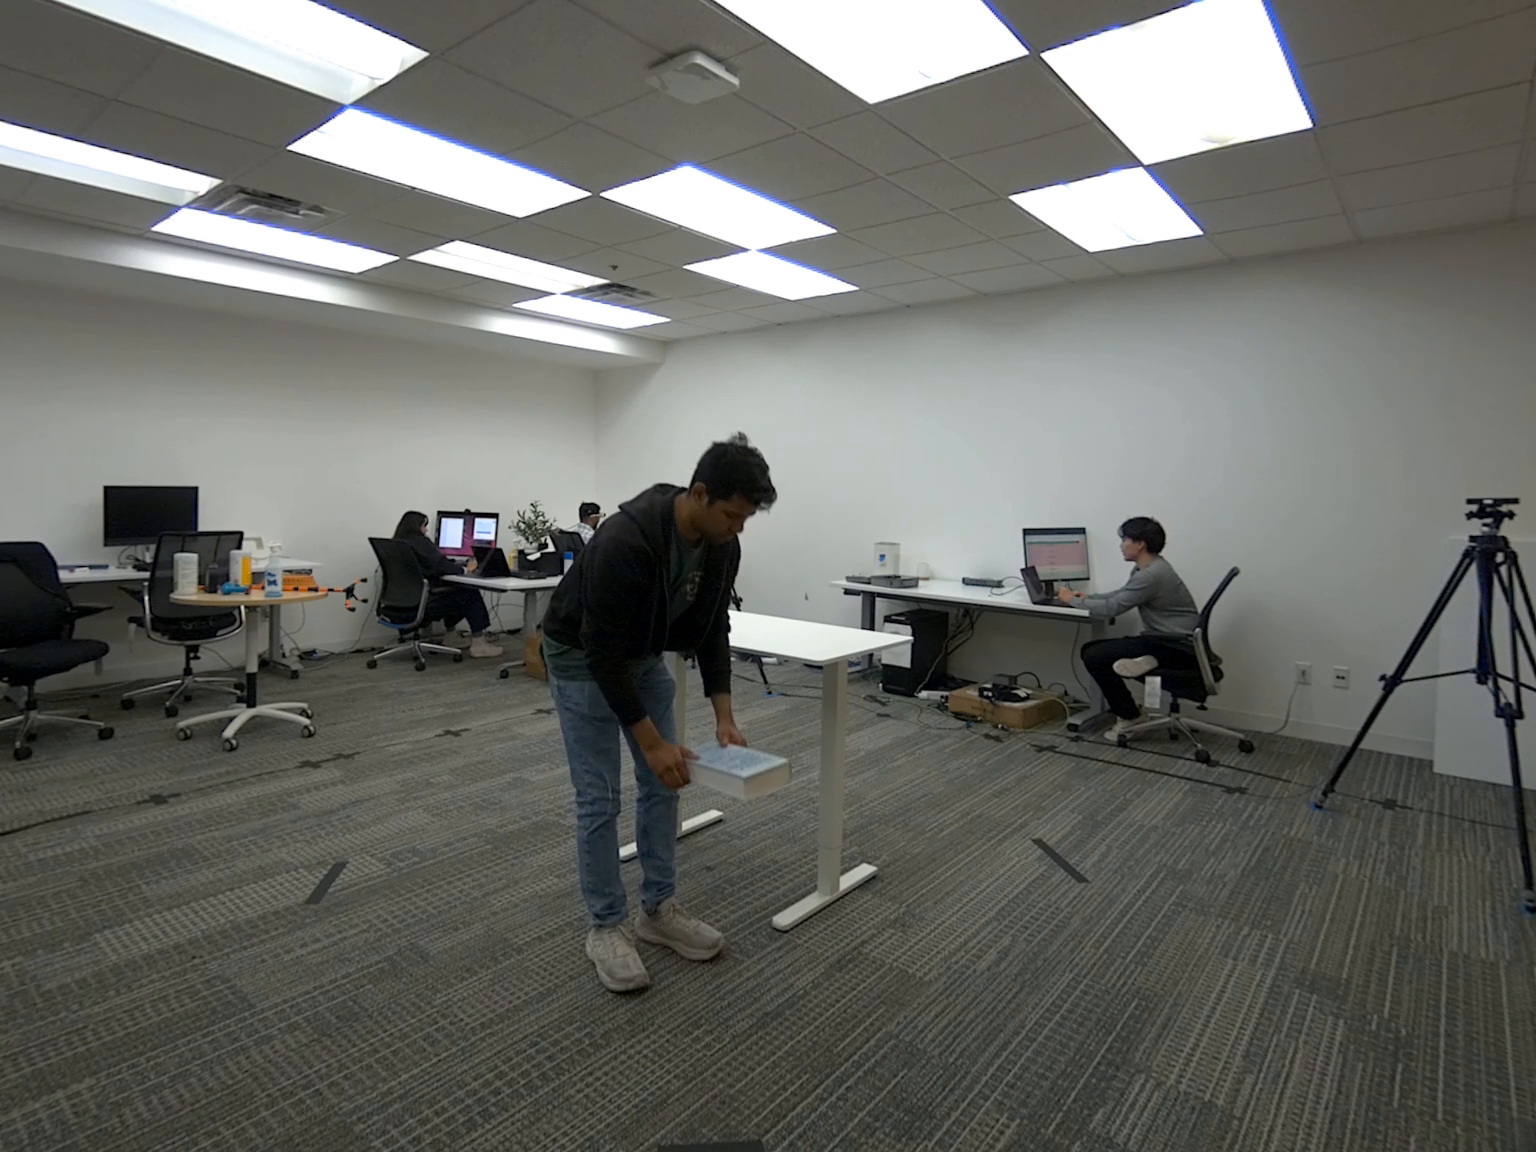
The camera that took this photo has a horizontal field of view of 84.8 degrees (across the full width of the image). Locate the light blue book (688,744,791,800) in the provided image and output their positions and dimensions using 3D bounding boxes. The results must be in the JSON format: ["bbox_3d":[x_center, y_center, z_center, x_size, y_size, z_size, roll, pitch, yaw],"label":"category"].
[{"bbox_3d":[-0.102,0.507,2.253,0.270,0.059,0.186,3,8,42],"label":"light blue book"}]
